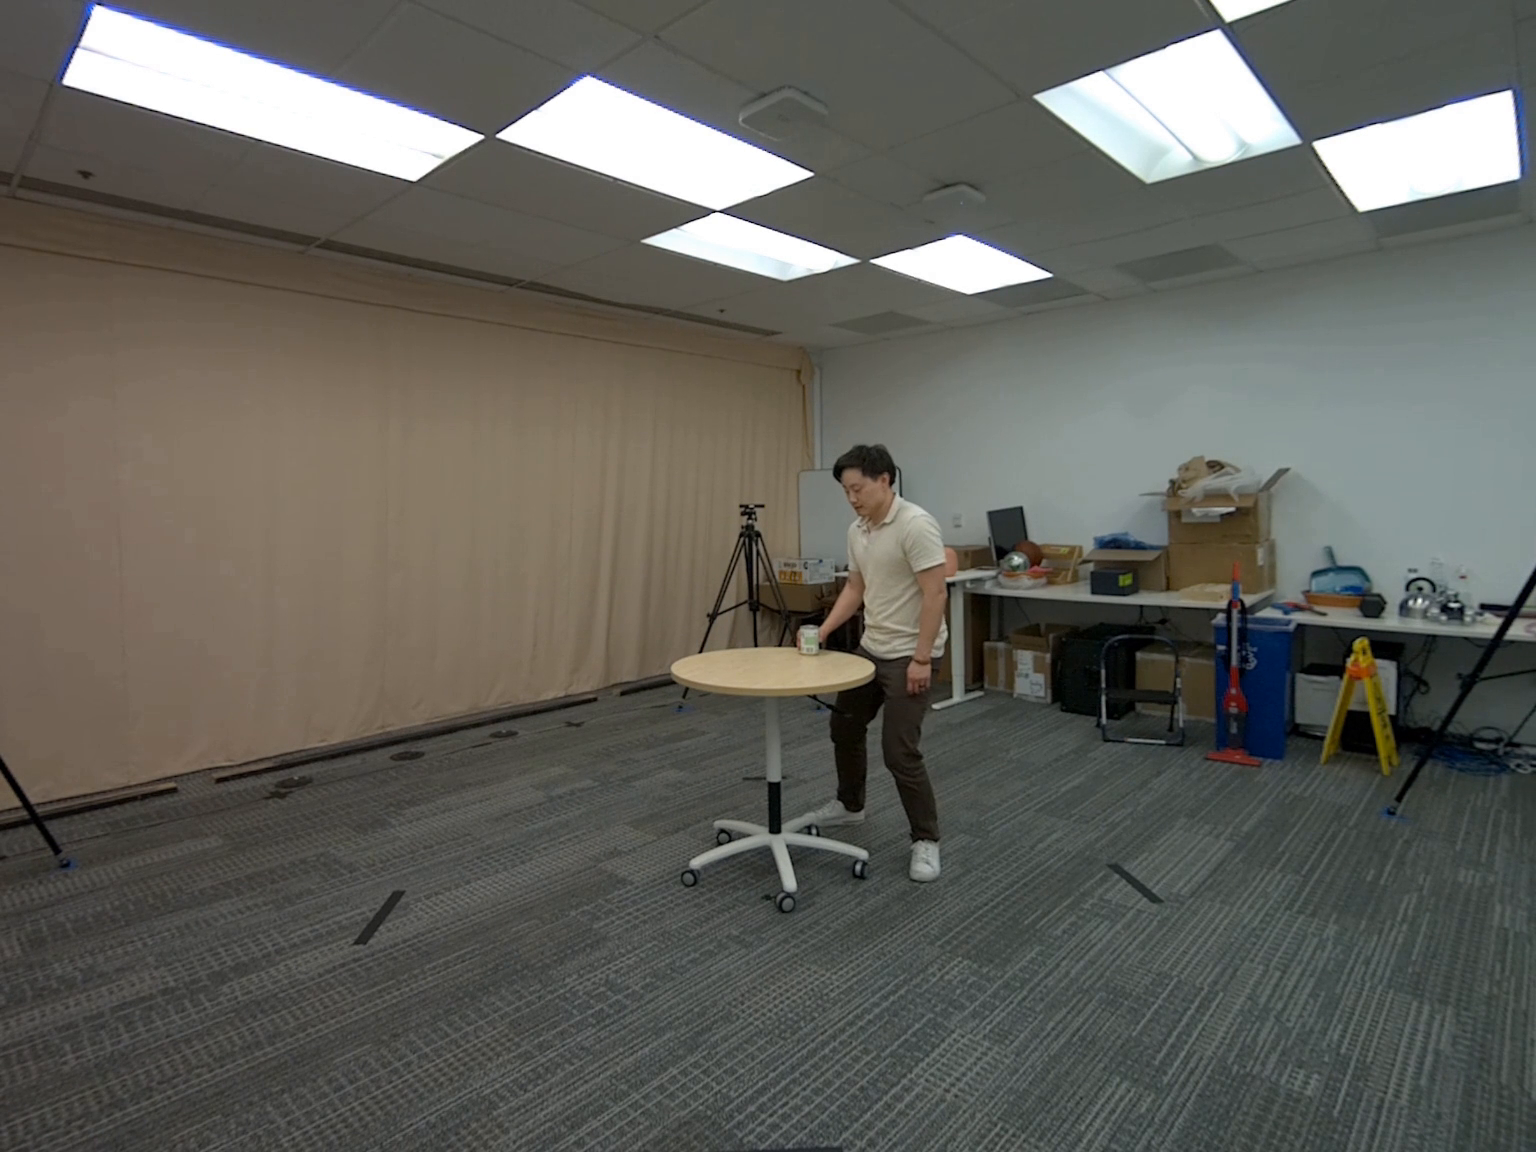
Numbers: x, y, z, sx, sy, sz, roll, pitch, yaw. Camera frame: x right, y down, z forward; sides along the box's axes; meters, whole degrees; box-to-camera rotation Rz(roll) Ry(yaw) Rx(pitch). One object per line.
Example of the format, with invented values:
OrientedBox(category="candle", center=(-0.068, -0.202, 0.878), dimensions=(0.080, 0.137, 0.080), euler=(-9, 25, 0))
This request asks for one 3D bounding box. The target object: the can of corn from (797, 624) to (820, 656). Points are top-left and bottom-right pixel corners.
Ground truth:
OrientedBox(category="can of corn", center=(0.174, 0.263, 3.400), dimensions=(0.074, 0.111, 0.074), euler=(1, 4, -2))
